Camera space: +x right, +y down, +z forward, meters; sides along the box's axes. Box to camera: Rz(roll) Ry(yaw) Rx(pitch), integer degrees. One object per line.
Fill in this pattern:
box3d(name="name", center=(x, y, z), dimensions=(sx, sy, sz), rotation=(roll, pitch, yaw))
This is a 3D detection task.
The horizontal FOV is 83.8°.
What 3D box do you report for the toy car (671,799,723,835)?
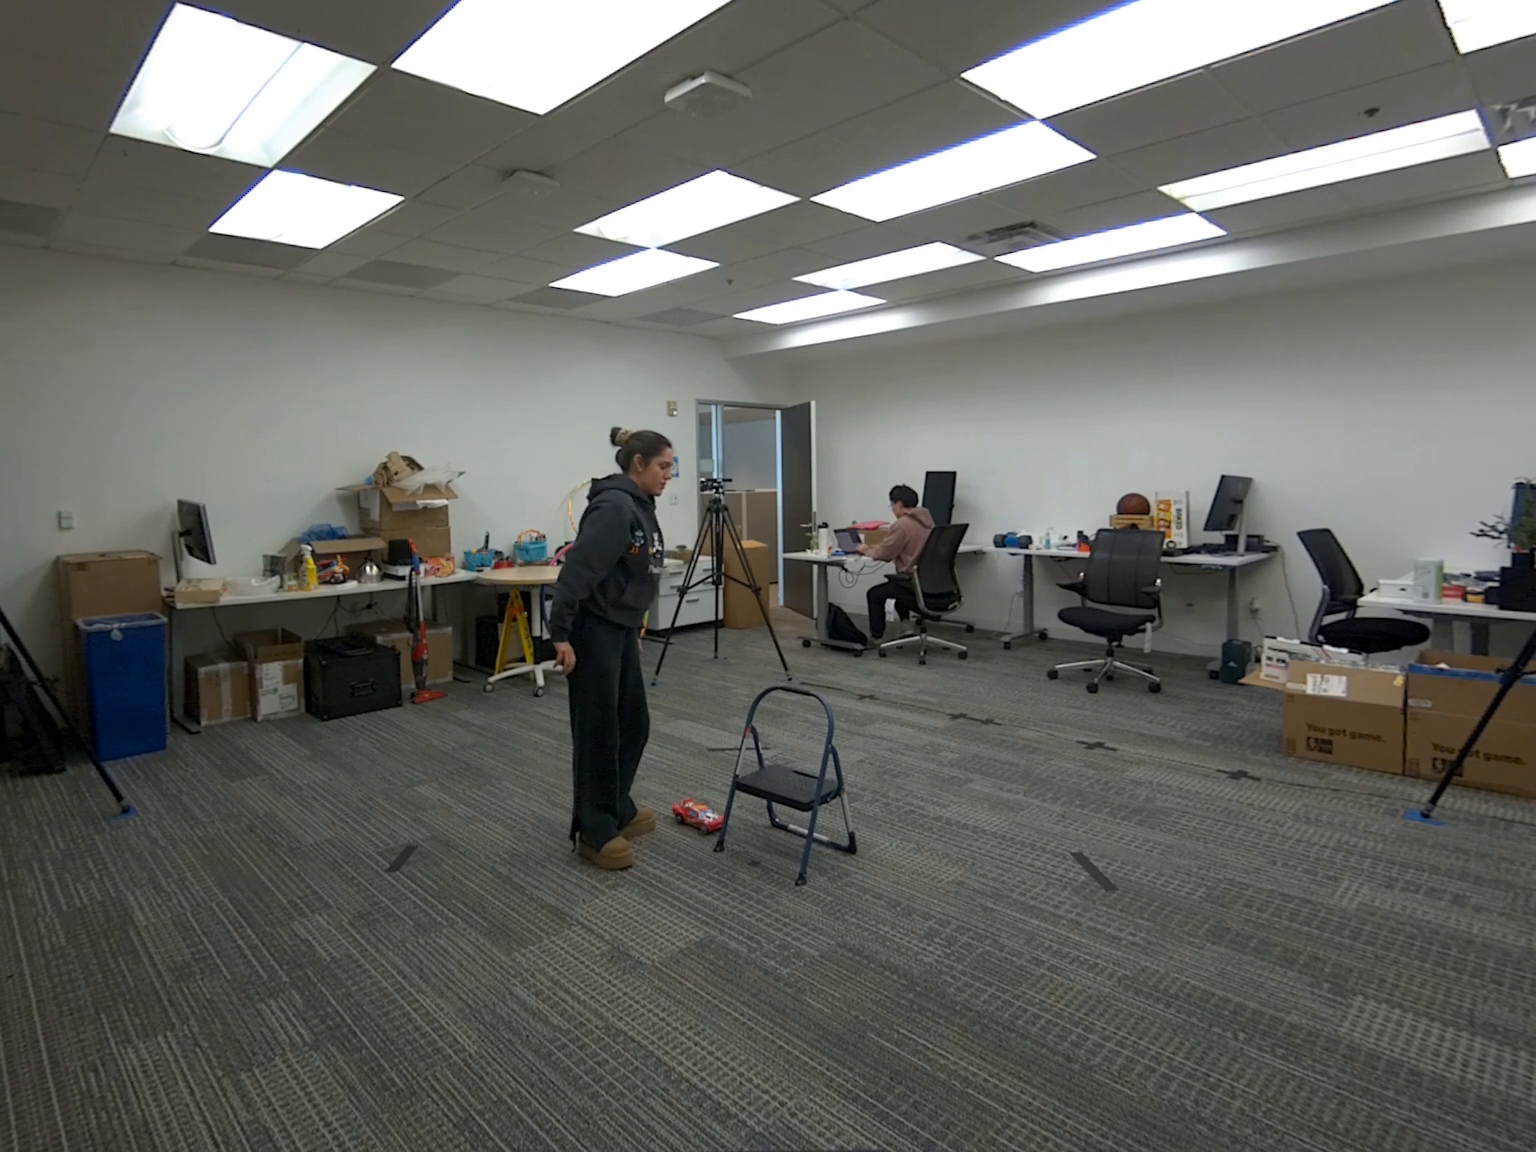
box3d(name="toy car", center=(-0.283, 0.979, 3.460), dimensions=(0.127, 0.082, 0.264), rotation=(-6, 19, -43))
